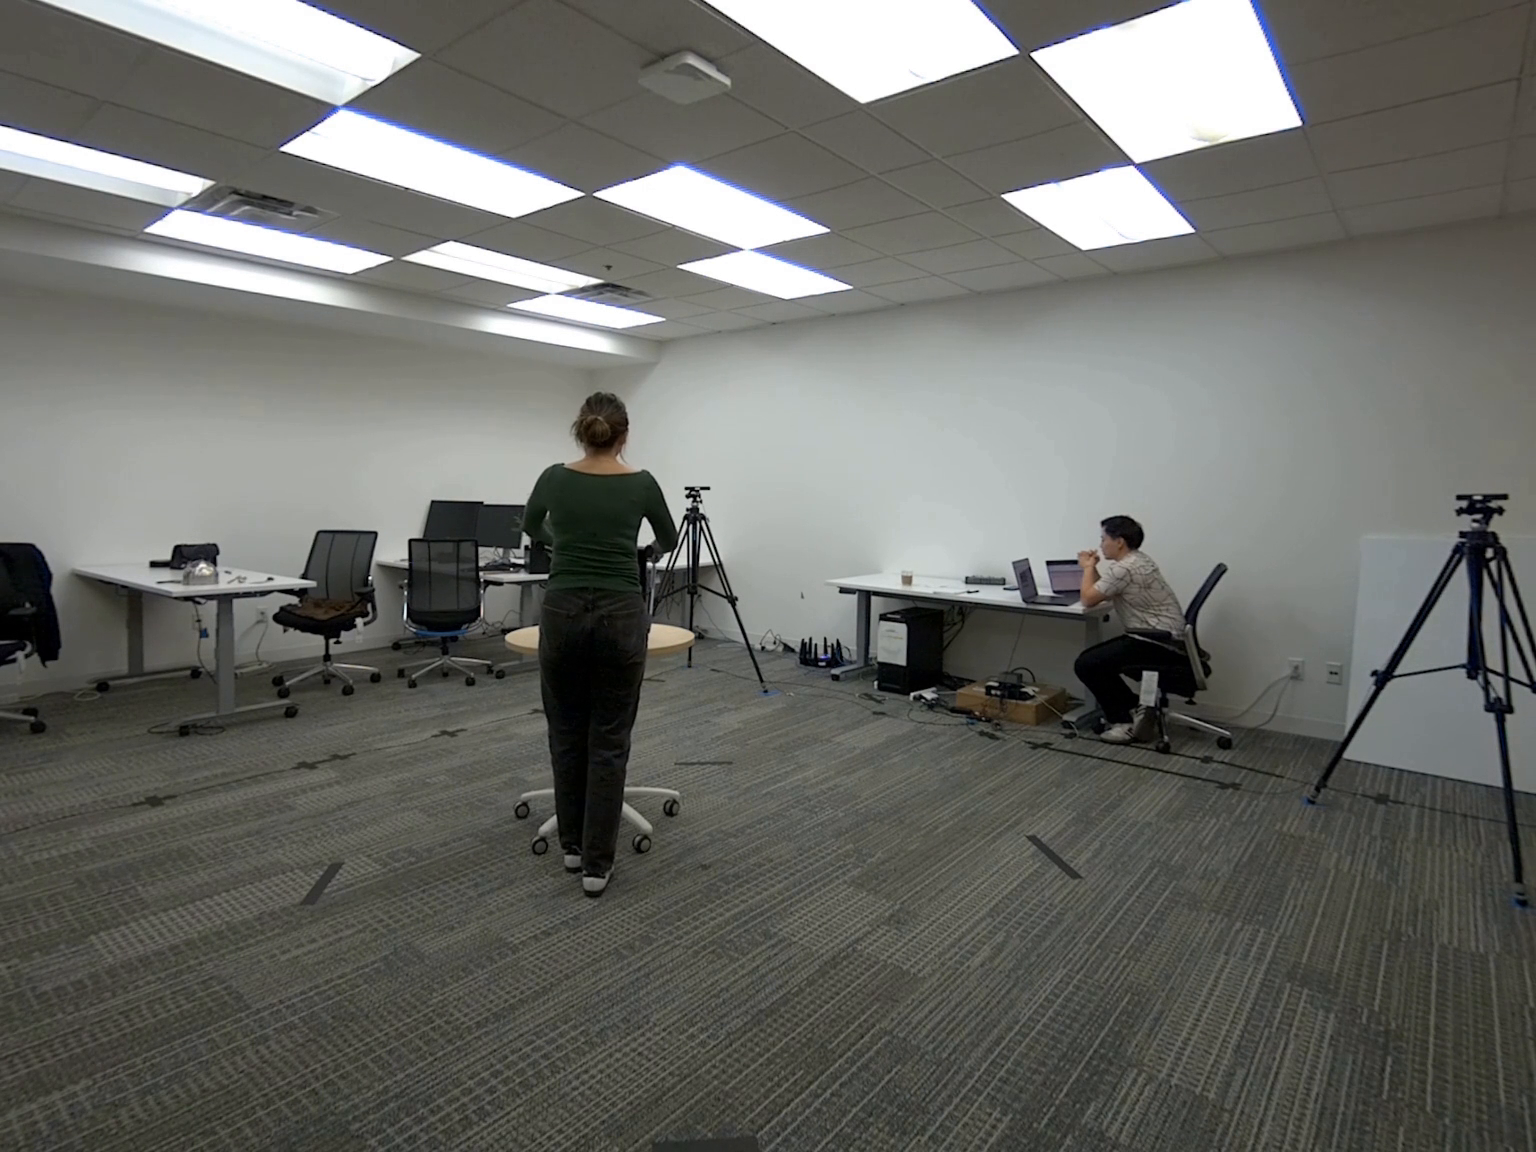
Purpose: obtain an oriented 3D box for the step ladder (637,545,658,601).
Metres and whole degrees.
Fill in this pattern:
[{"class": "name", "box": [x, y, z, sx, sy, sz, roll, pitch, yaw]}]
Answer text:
[{"class": "step ladder", "box": [-0.659, -0.047, 3.426, 0.430, 0.344, 0.617, 2, 18, -3]}]
